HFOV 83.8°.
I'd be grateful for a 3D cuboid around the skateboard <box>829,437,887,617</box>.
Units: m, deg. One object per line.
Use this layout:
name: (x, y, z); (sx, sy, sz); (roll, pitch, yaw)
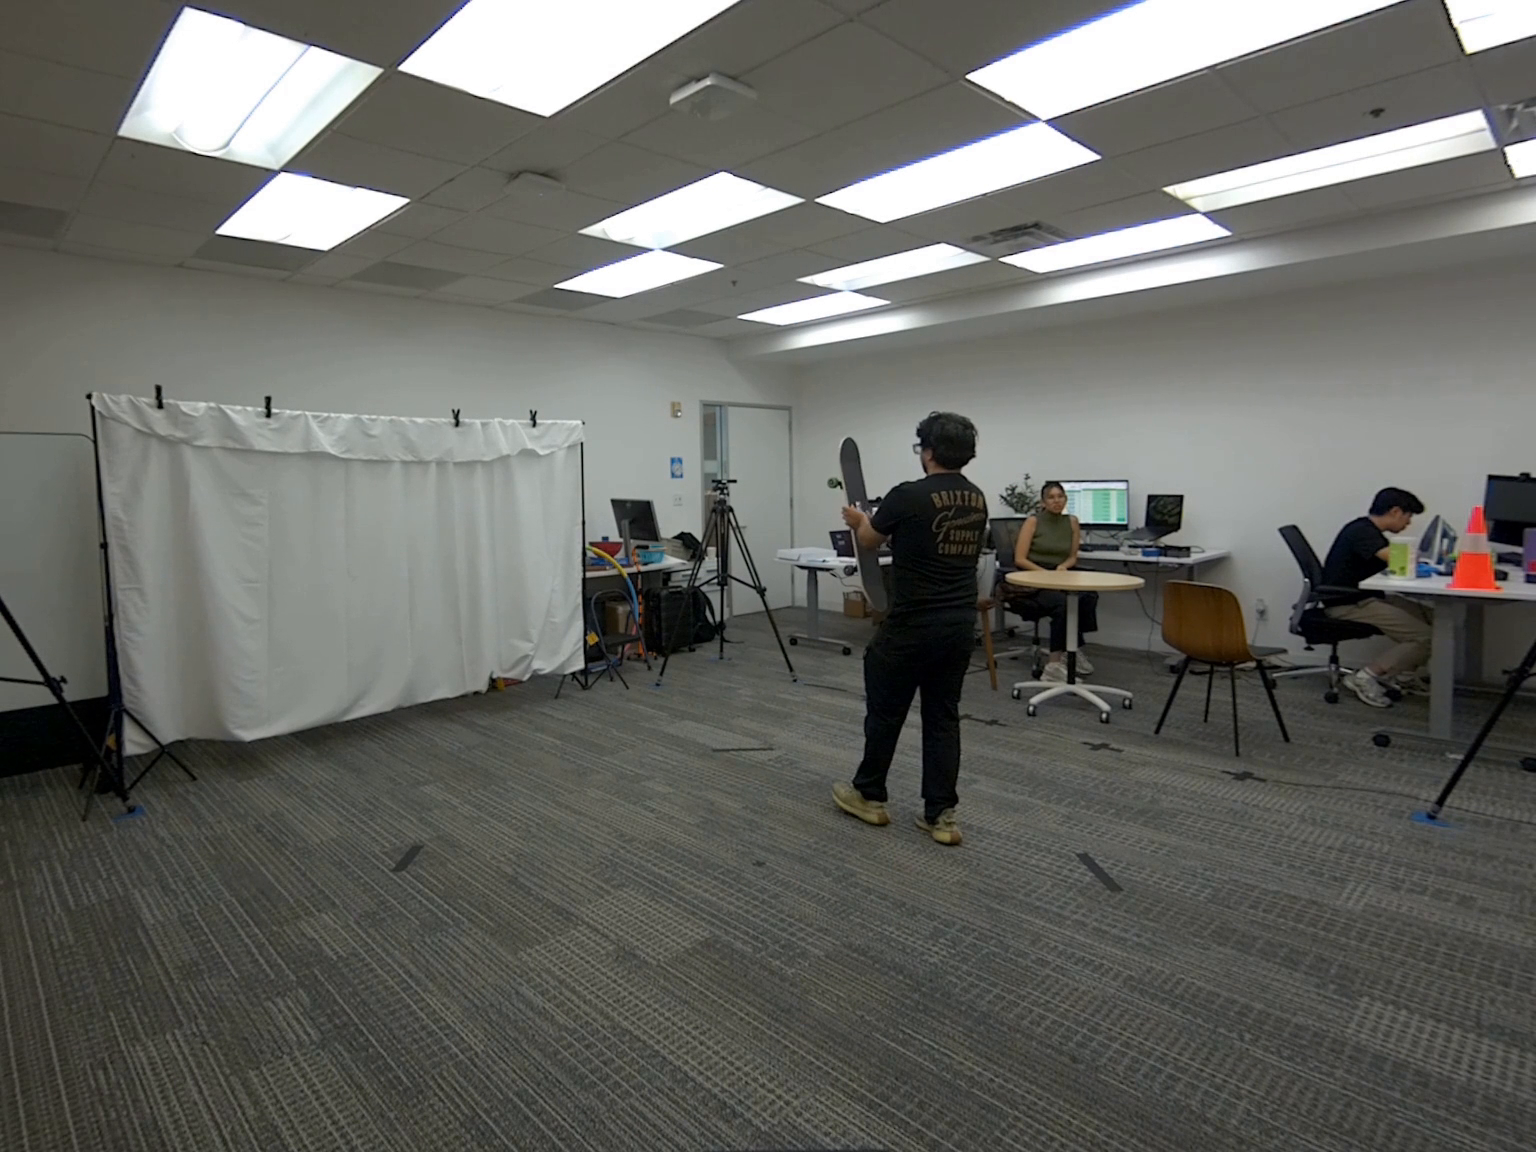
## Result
skateboard: (0.388, -0.224, 3.800); (0.112, 0.794, 0.188); (-17, -13, 35)
